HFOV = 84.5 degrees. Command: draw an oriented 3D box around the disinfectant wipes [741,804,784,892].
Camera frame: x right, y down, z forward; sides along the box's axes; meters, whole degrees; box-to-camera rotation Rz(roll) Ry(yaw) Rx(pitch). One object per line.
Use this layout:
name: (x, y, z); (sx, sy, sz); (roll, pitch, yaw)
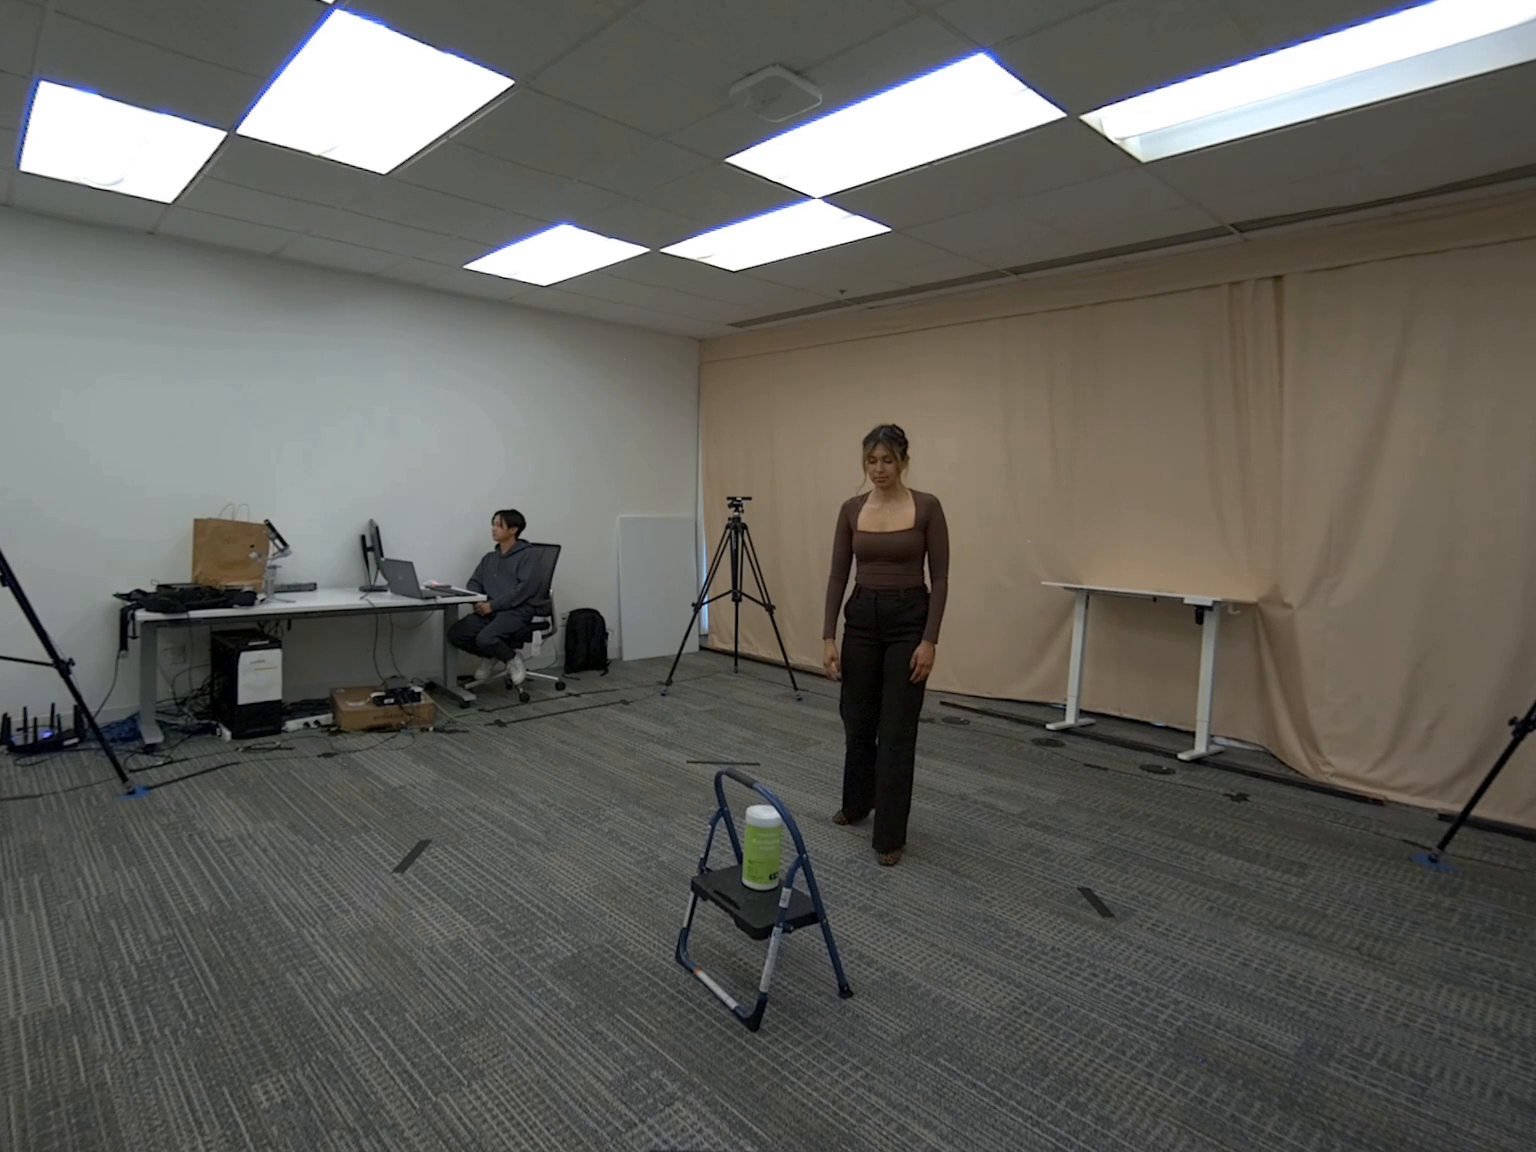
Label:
disinfectant wipes: (-0.026, 0.803, 2.465); (0.118, 0.217, 0.118); (4, 5, -2)
